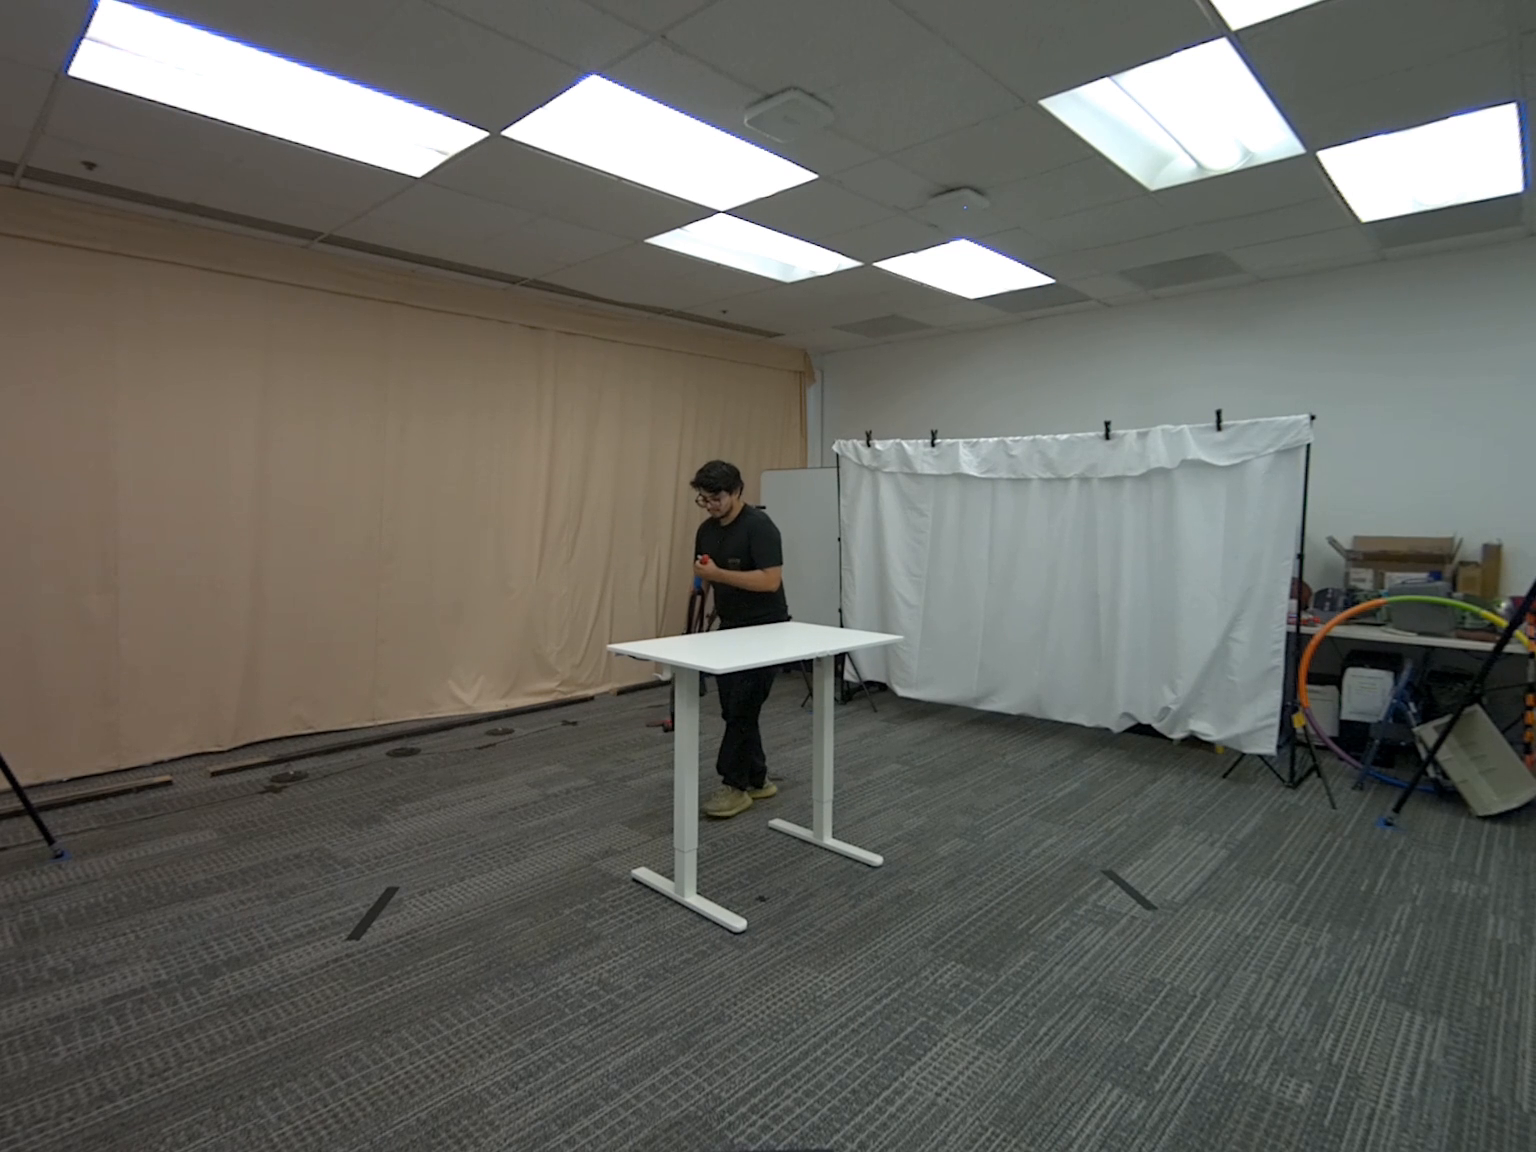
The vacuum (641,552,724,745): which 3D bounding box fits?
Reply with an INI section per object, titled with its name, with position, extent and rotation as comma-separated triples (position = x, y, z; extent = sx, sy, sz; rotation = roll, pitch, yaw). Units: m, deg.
[vacuum]
position = -0.378, 0.341, 3.879
extent = 0.246, 1.038, 0.149
rotation = -10, 44, -30
